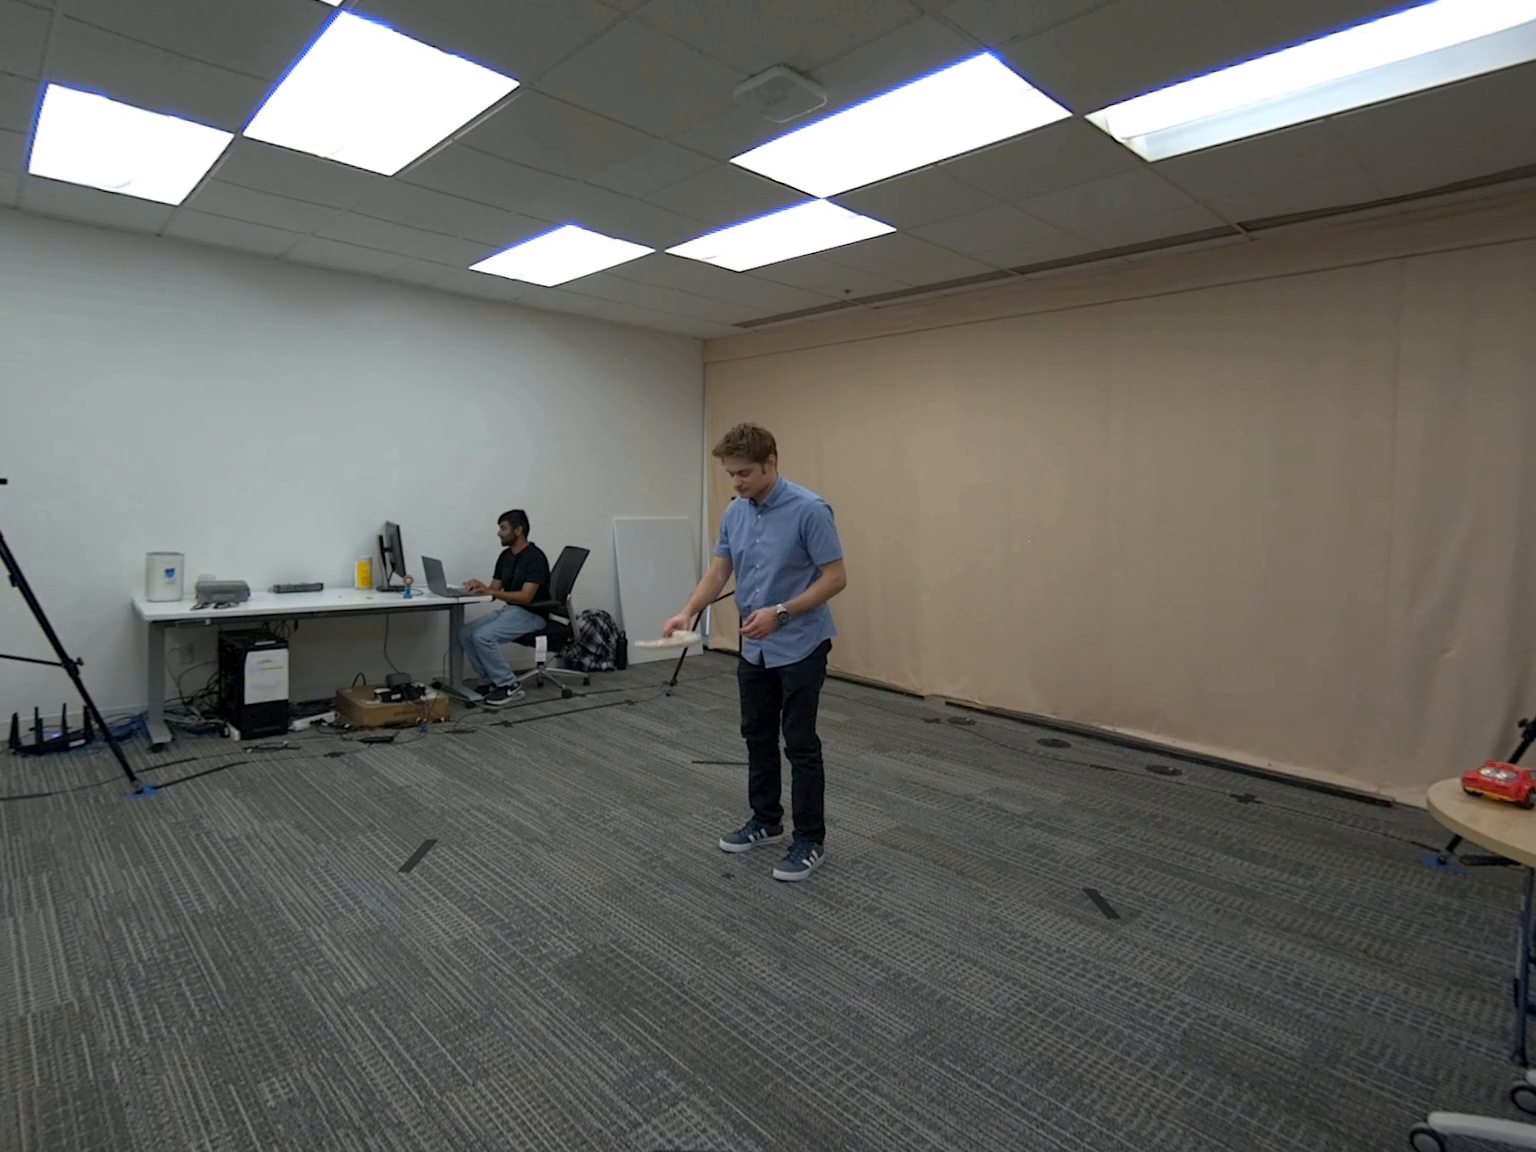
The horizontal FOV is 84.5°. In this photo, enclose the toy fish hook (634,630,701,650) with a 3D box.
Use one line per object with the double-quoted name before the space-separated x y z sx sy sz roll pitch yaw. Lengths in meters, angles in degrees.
"toy fish hook" -0.372 0.234 2.968 0.223 0.048 0.509 -3 0 -8
